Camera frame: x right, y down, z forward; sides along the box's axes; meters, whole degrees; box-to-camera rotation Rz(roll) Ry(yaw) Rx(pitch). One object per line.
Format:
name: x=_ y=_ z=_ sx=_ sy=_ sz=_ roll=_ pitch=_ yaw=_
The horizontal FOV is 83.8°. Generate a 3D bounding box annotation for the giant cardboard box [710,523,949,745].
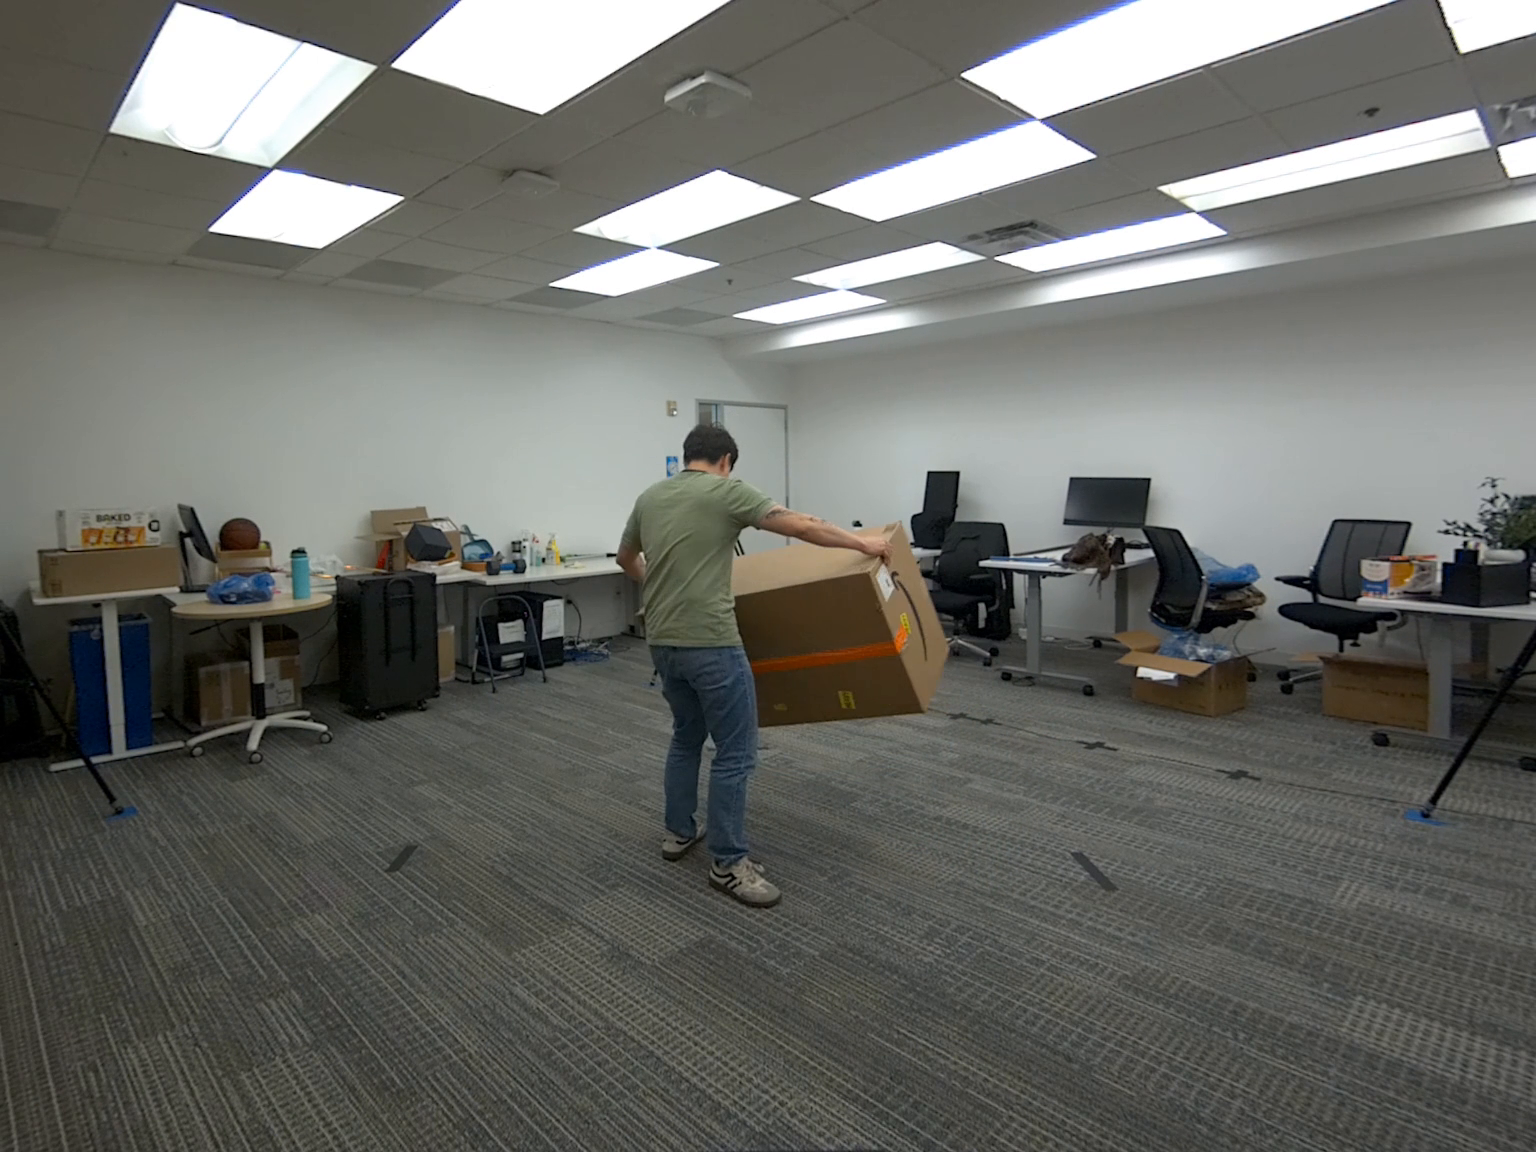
giant cardboard box: x=0.077 y=0.228 z=3.358 sx=1.047 sy=0.566 sz=0.426 roll=-12 pitch=20 yaw=32
